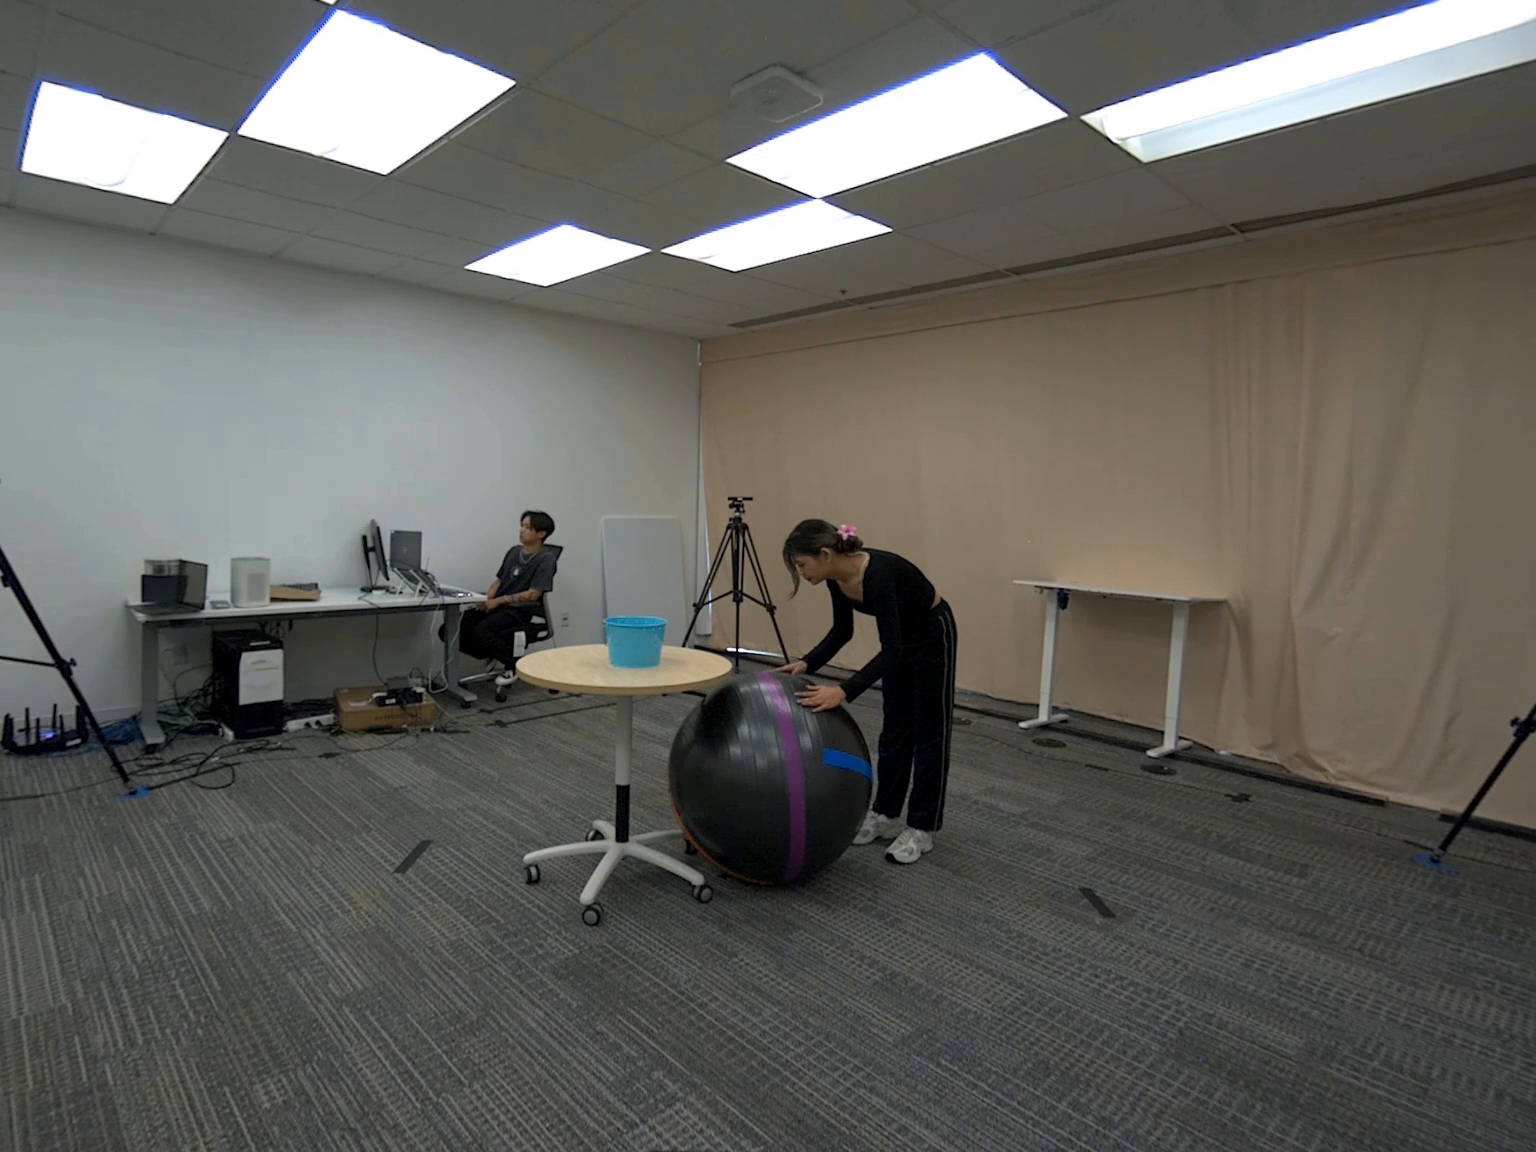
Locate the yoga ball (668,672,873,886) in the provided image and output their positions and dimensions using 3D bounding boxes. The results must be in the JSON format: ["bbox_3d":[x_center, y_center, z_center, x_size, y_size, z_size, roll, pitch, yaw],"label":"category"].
[{"bbox_3d":[0.012,0.745,3.137,0.757,0.756,0.761,1,4,-1],"label":"yoga ball"}]
